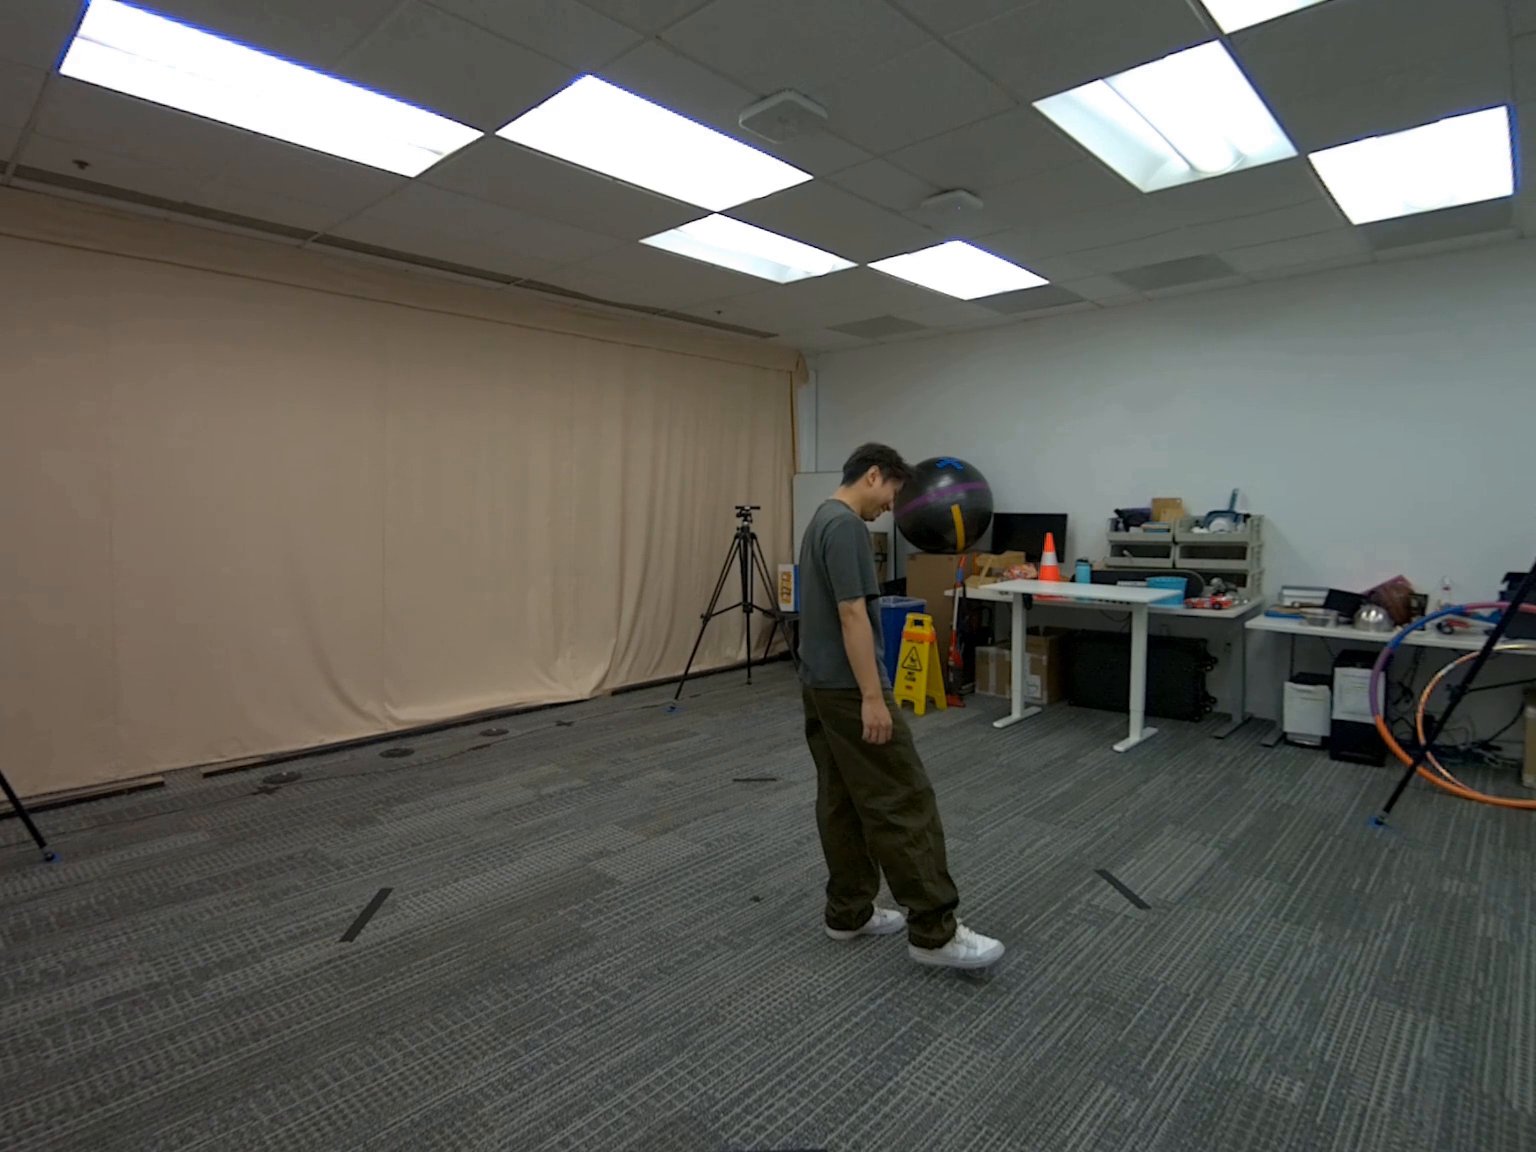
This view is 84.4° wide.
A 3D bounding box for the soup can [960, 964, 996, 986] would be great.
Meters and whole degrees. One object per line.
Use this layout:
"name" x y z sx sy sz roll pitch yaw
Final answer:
"soup can" 0.633 1.154 2.519 0.068 0.067 0.120 1 5 11
